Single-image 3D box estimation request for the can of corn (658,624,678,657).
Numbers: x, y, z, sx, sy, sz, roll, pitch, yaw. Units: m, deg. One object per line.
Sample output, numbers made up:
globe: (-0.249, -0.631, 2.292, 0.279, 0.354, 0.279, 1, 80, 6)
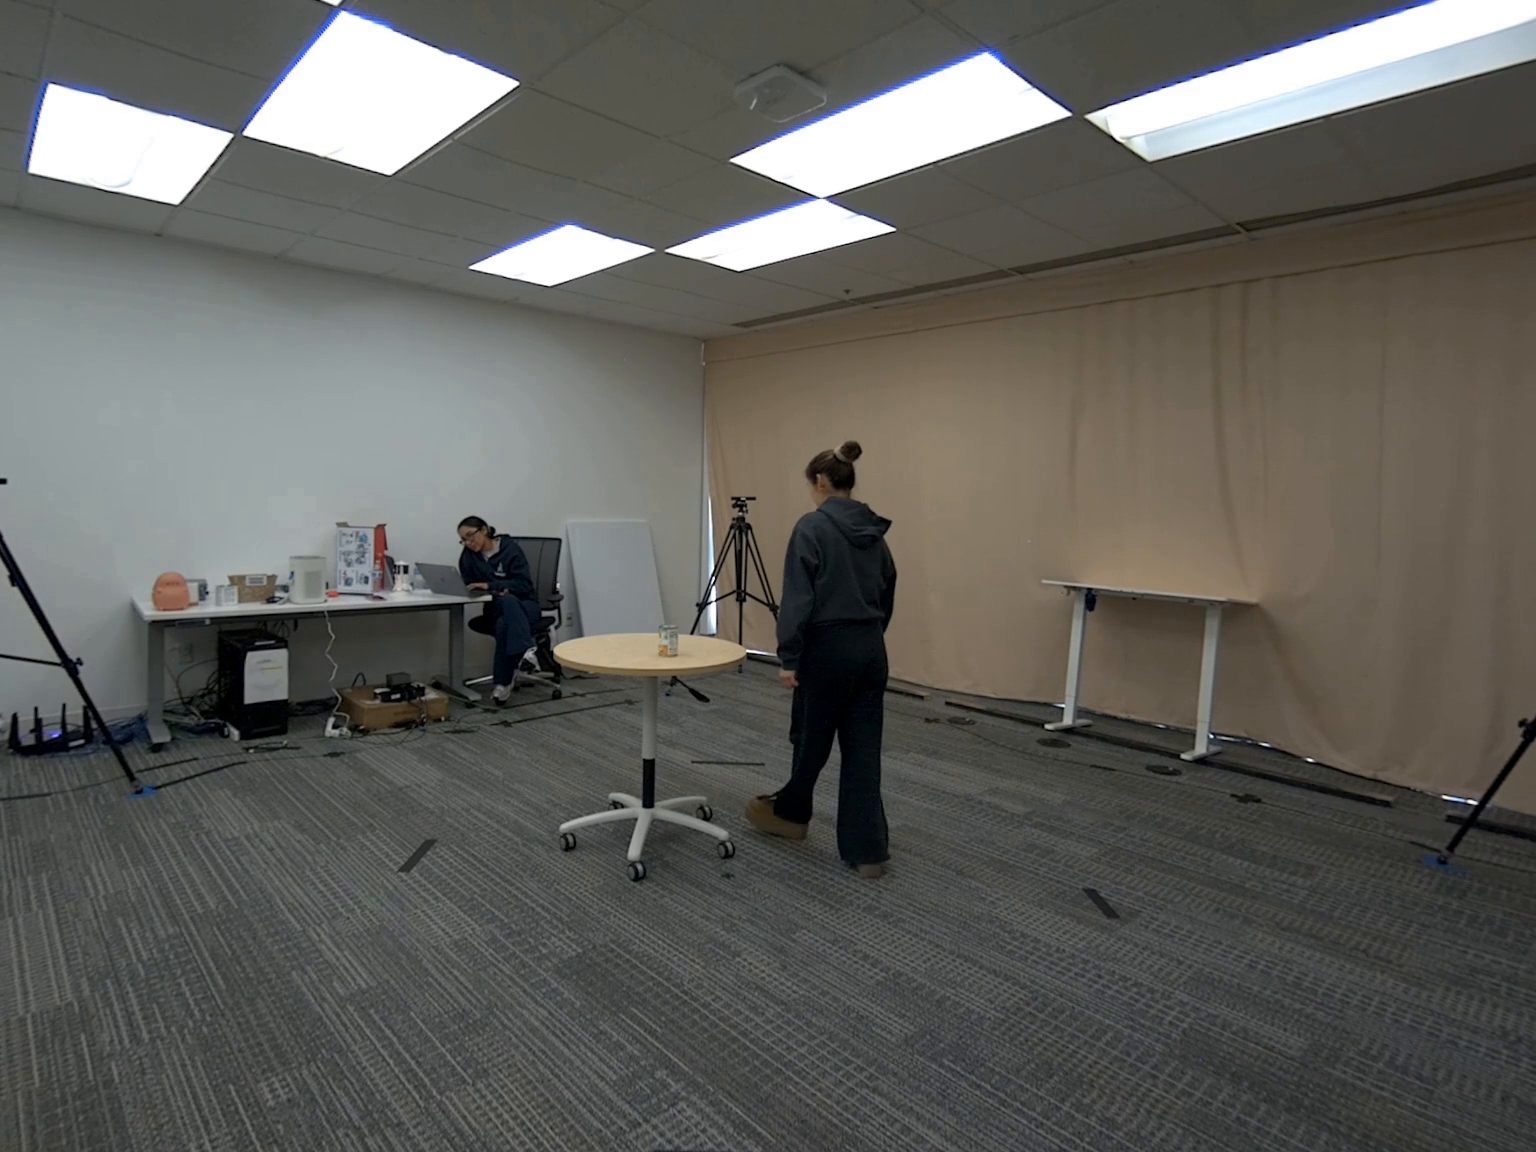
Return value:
can of corn: (-0.391, 0.249, 3.247, 0.074, 0.111, 0.074, 2, 2, -1)
